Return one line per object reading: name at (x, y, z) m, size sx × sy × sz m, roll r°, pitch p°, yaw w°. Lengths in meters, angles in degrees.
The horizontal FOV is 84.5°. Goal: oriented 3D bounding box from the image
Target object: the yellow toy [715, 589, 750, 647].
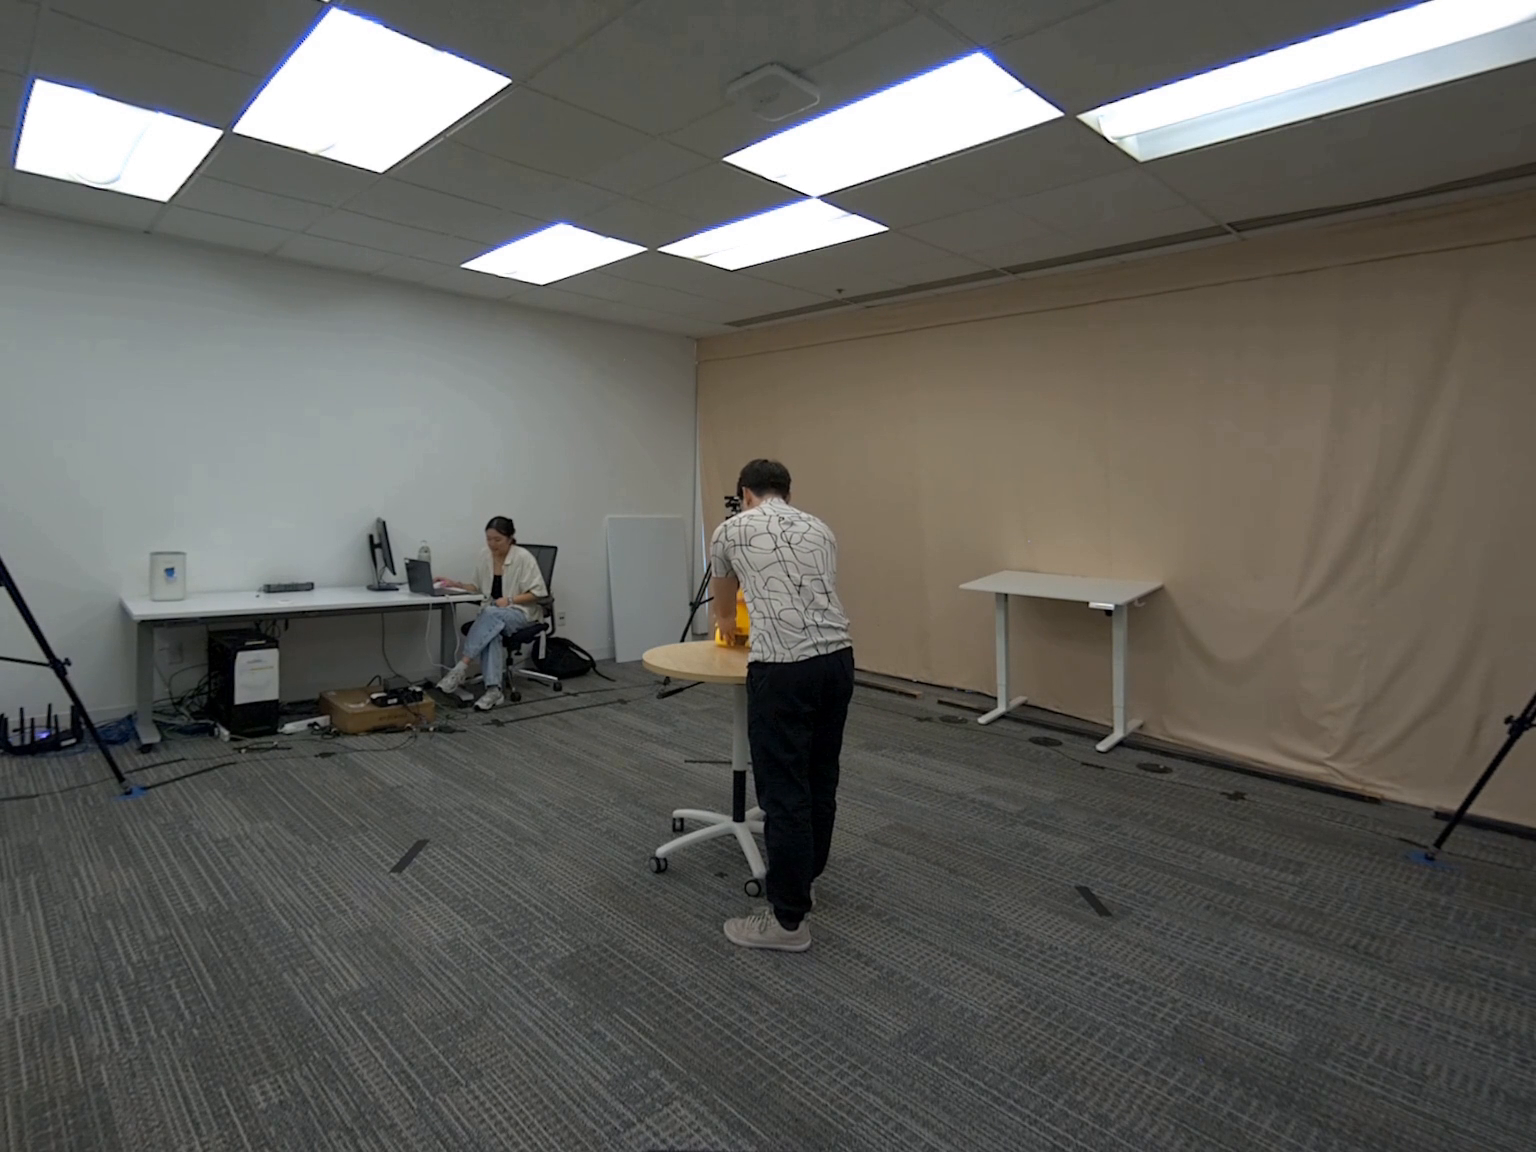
yellow toy at (-0.117, 0.162, 3.451) m, size 0.205 × 0.230 × 0.193 m, roll 2°, pitch 5°, yaw 1°
